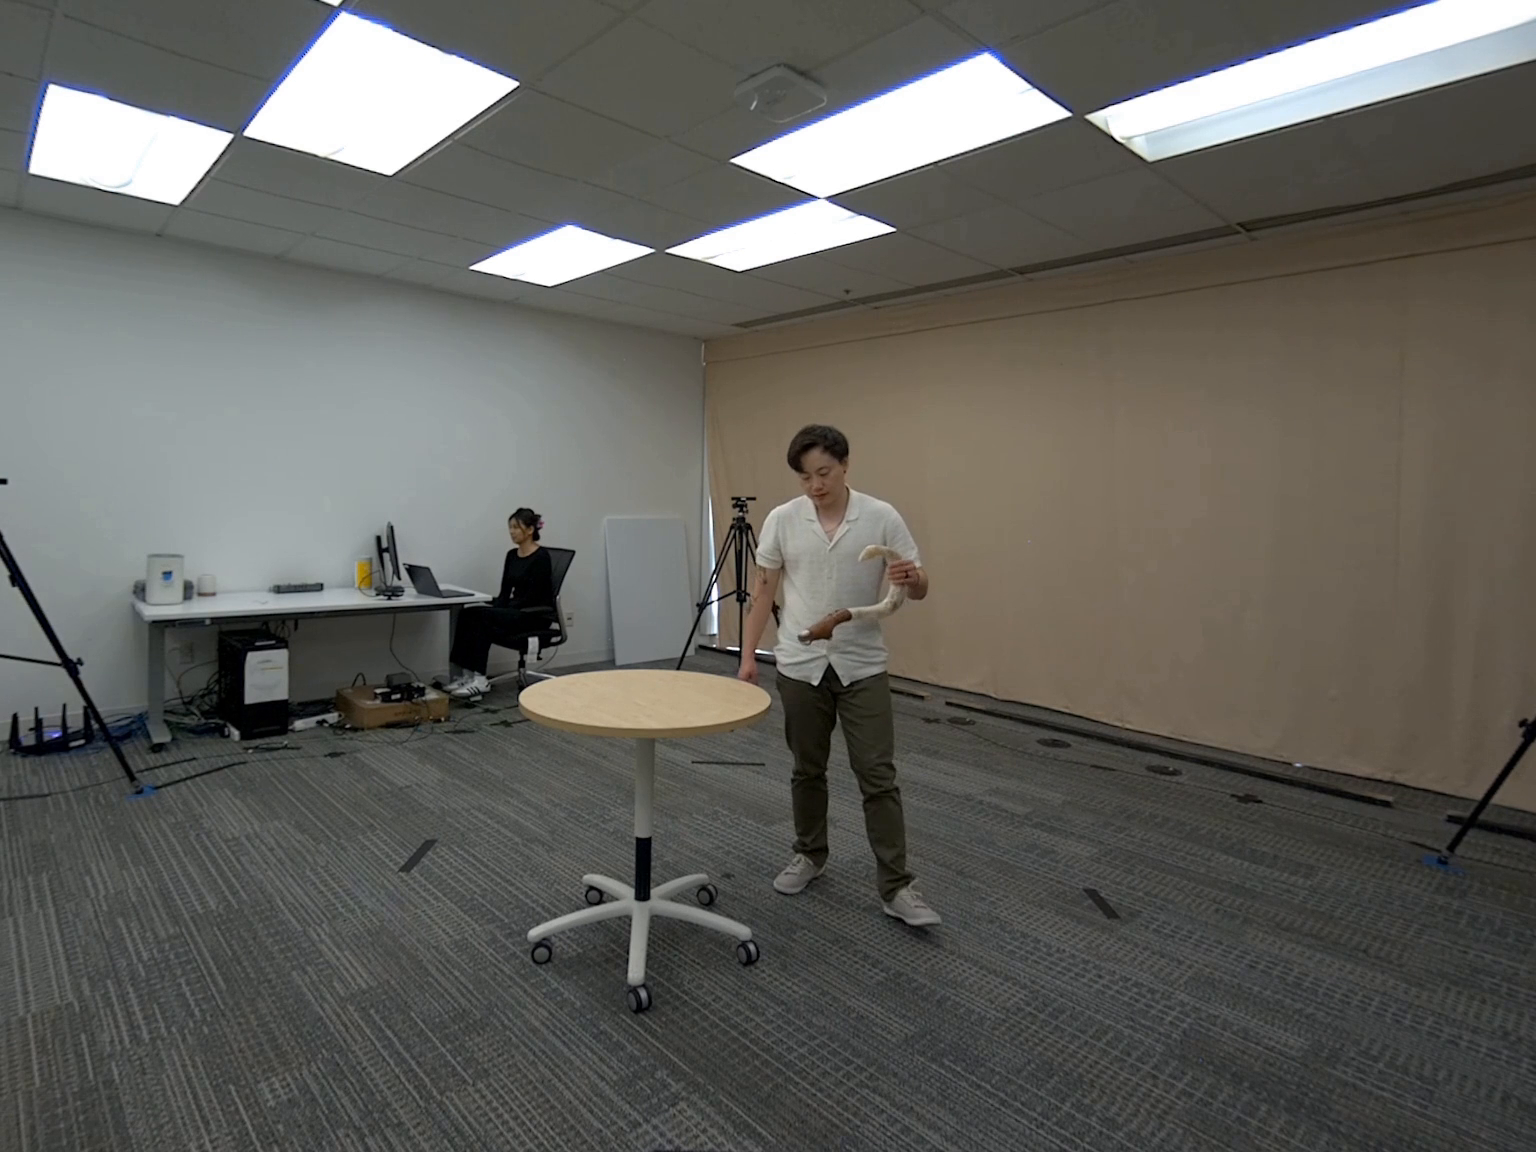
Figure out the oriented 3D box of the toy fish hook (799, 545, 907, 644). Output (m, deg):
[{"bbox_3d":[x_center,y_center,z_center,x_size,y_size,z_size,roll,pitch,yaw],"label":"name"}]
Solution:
[{"bbox_3d":[0.229,0.058,2.458,0.499,0.223,0.049,-23,8,-42],"label":"toy fish hook"}]
